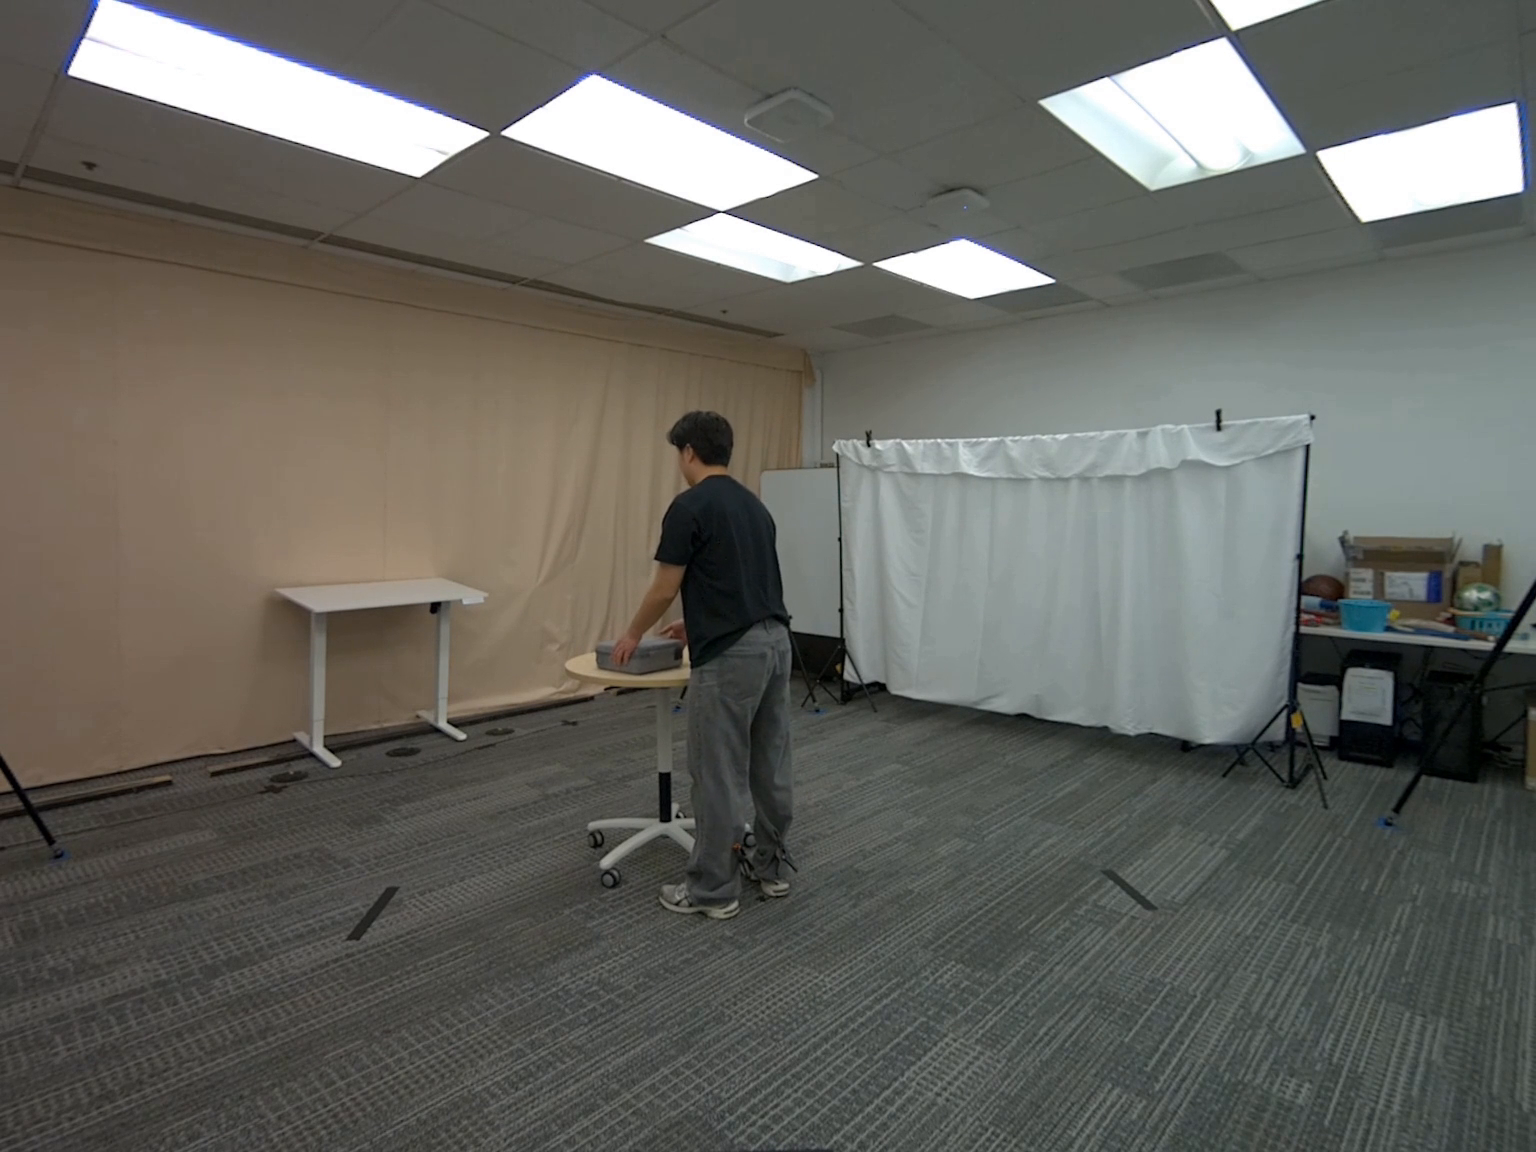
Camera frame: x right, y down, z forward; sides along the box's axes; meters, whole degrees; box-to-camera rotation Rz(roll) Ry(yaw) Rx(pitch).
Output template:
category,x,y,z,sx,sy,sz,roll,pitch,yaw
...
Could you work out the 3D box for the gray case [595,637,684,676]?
category,x,y,z,sx,sy,sz,roll,pitch,yaw
gray case,-0.498,0.298,3.198,0.296,0.103,0.255,2,5,42
